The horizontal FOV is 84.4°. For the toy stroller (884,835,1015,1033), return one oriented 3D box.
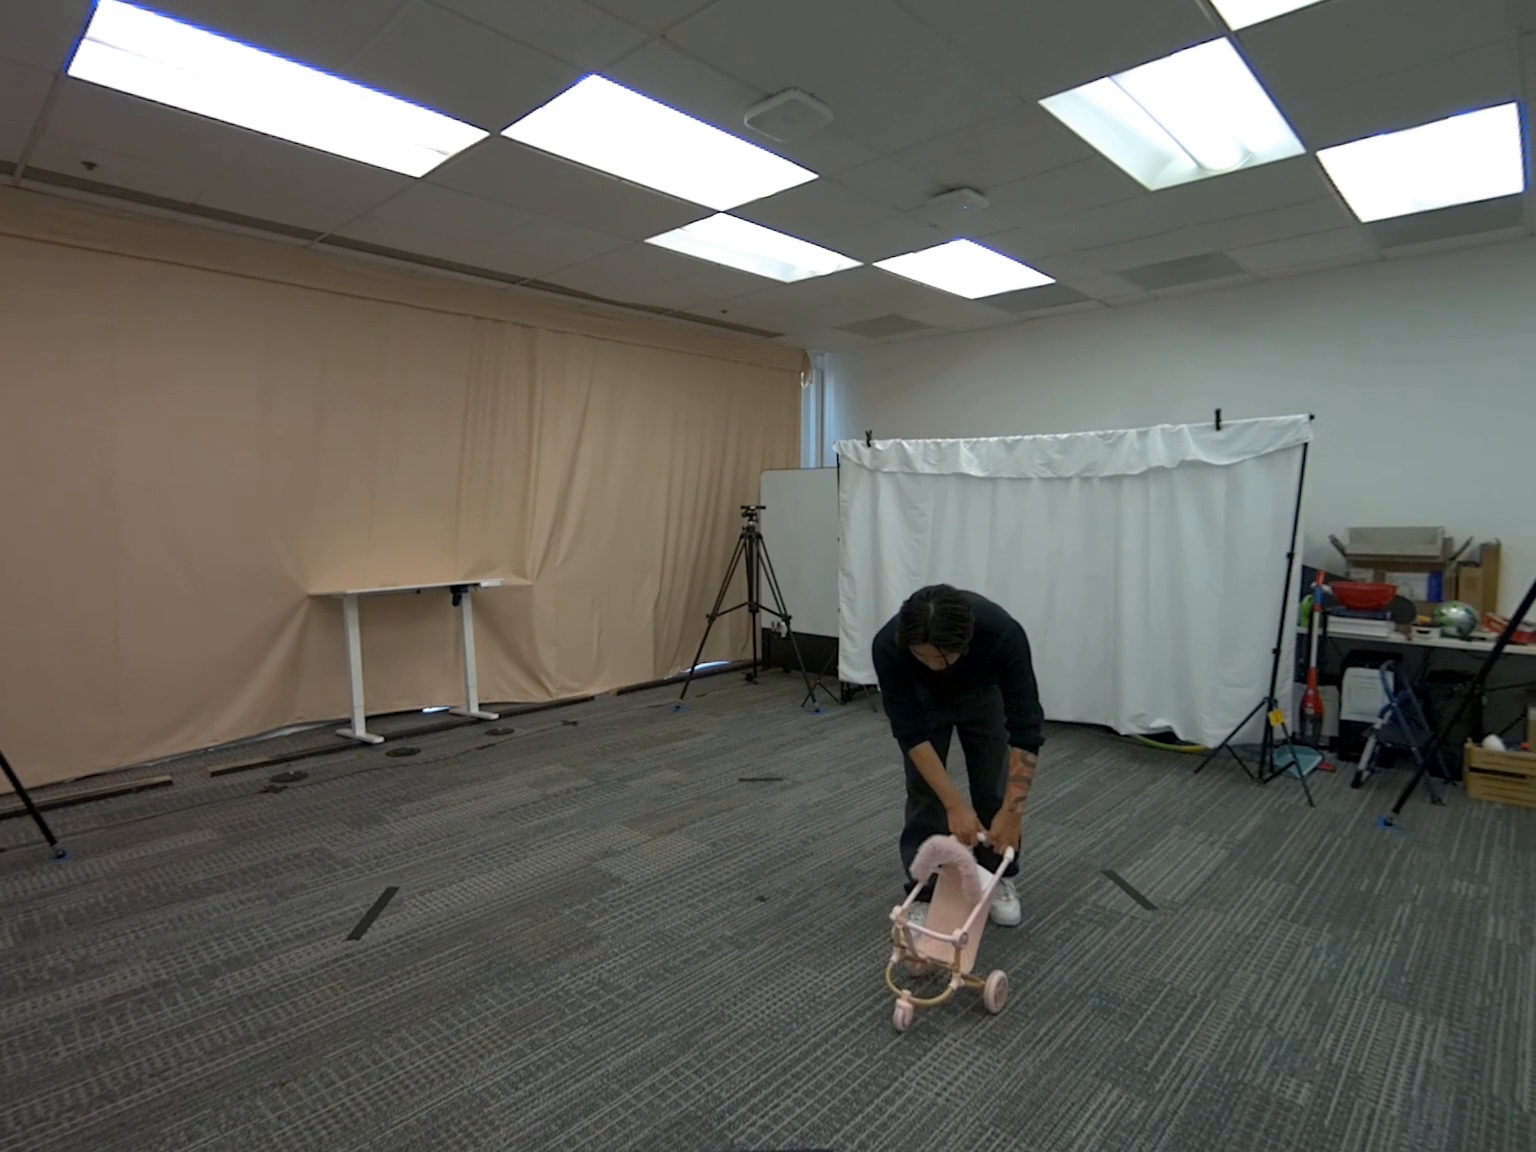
[{"bbox_3d":[0.498,0.974,2.361,0.329,0.537,0.290,21,-12,-39],"label":"toy stroller"}]
